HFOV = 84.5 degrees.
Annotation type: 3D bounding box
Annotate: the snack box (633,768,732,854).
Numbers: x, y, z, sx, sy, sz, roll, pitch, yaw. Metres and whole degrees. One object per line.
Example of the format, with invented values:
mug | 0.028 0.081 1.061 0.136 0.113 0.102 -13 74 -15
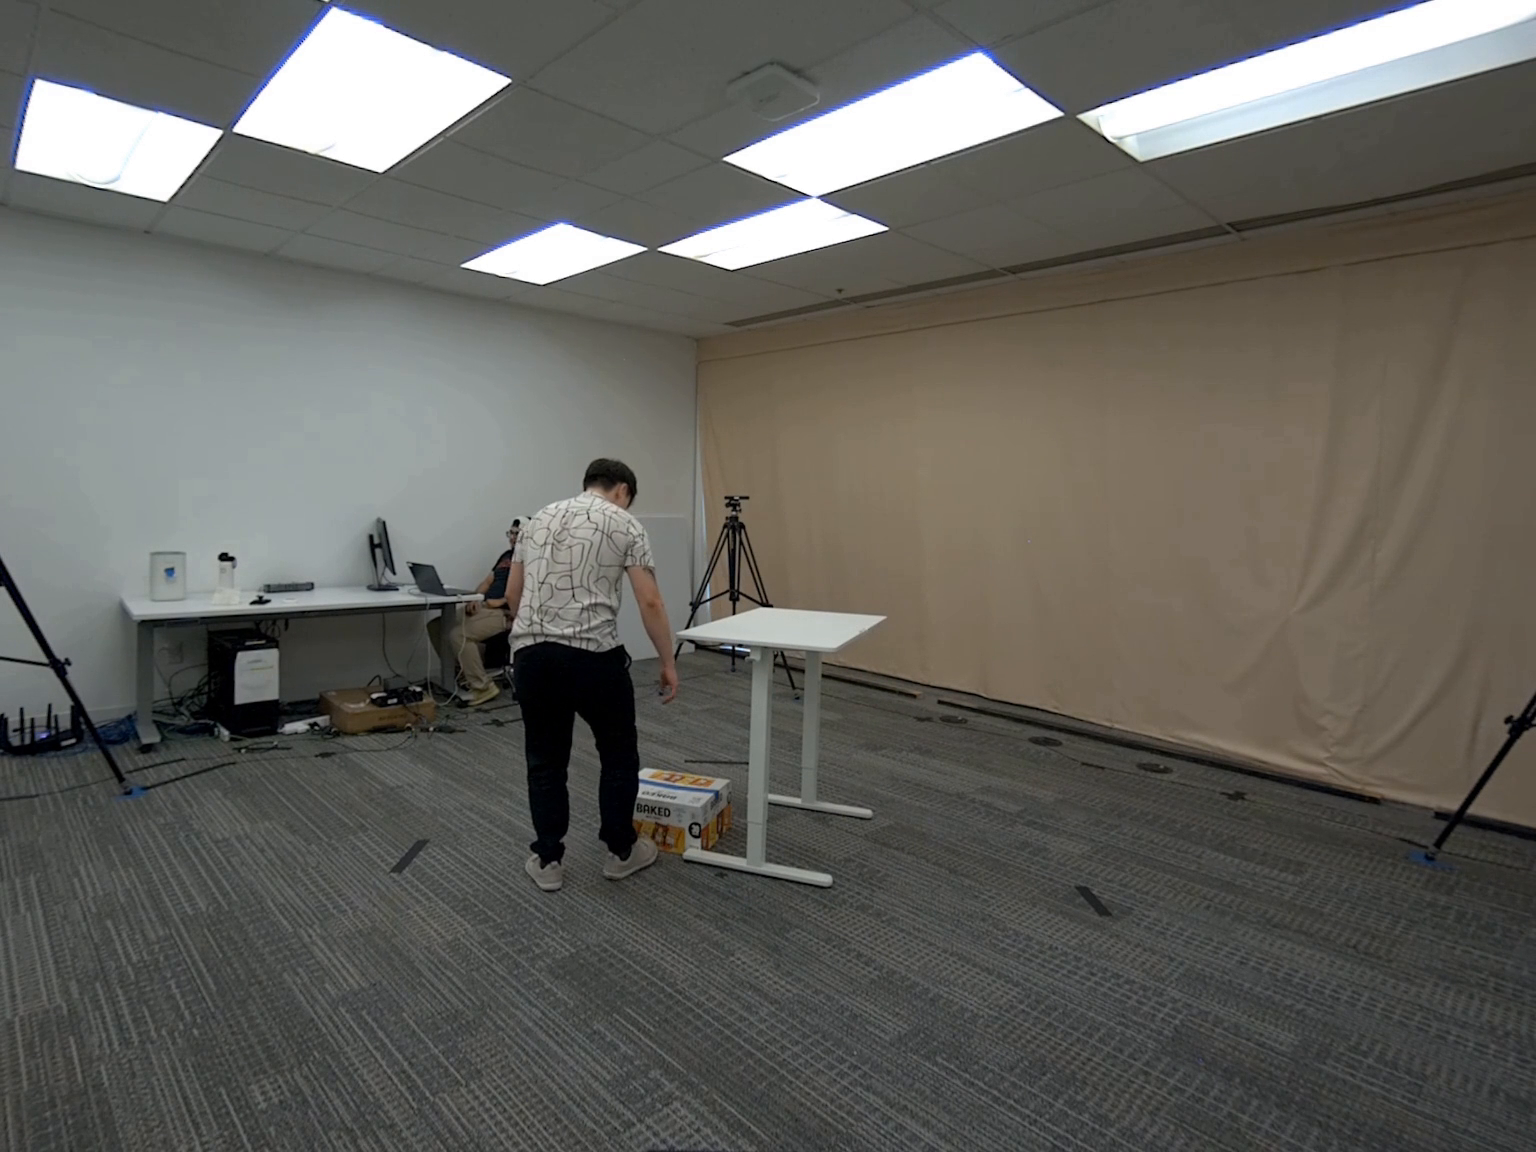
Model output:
snack box | -0.408 0.965 3.461 0.411 0.205 0.336 3 5 19
